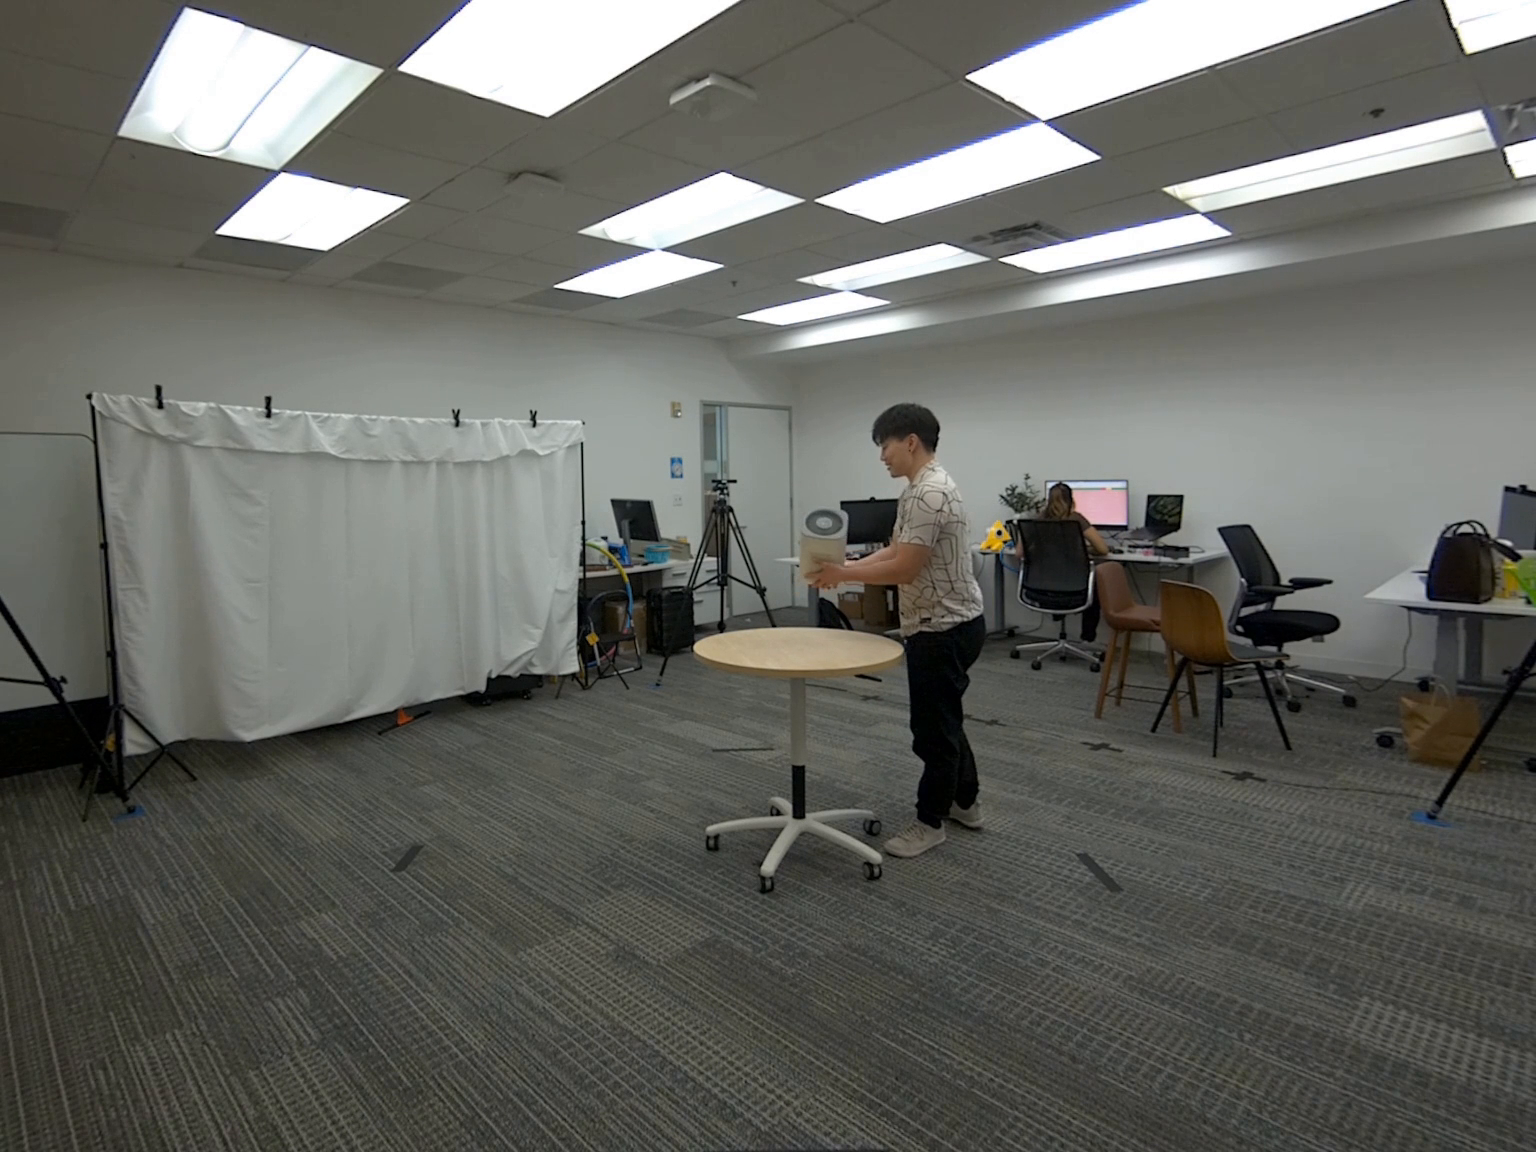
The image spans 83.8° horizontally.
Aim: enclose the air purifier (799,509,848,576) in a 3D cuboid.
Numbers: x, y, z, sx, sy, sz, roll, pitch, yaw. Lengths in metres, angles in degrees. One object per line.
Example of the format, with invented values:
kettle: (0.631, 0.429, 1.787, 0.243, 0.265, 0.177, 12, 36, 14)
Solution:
air purifier: (0.211, -0.108, 3.235, 0.173, 0.258, 0.174, 6, 45, 8)
